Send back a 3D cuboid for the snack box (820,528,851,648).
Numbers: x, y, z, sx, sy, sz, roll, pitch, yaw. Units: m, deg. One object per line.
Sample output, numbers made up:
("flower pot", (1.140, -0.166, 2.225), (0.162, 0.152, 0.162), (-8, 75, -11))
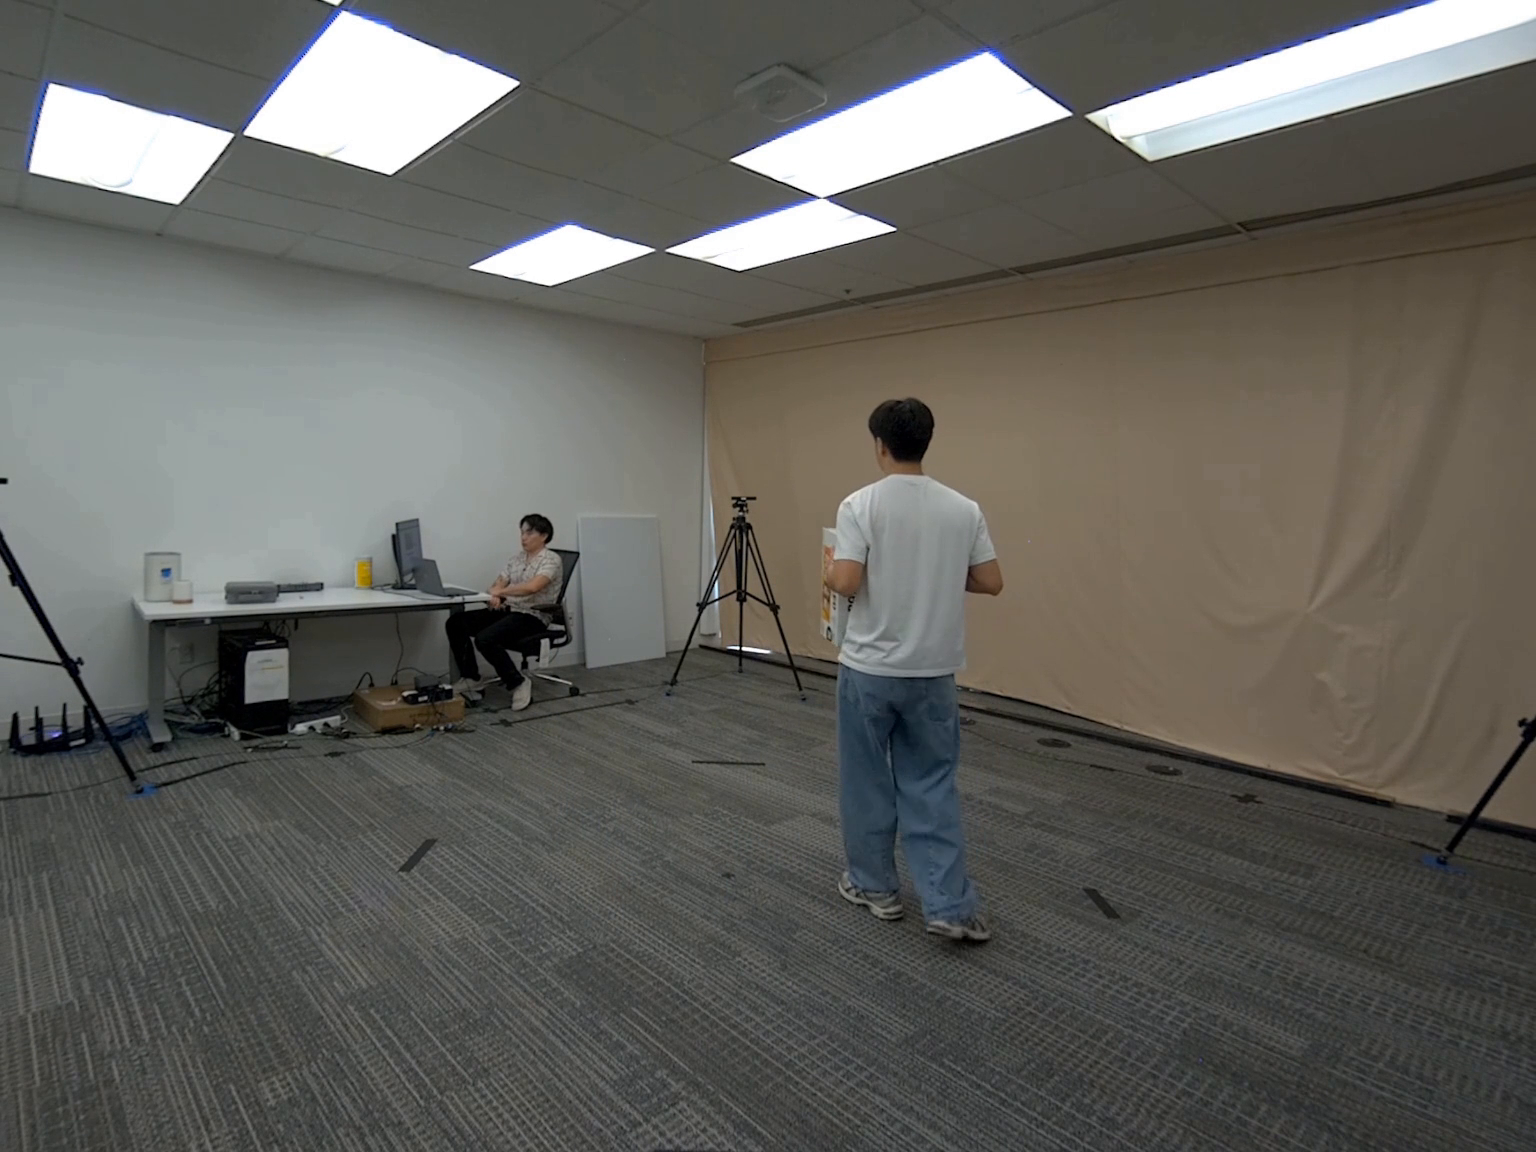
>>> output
("snack box", (0.394, 0.036, 3.072), (0.337, 0.402, 0.209), (-1, 9, -13))
